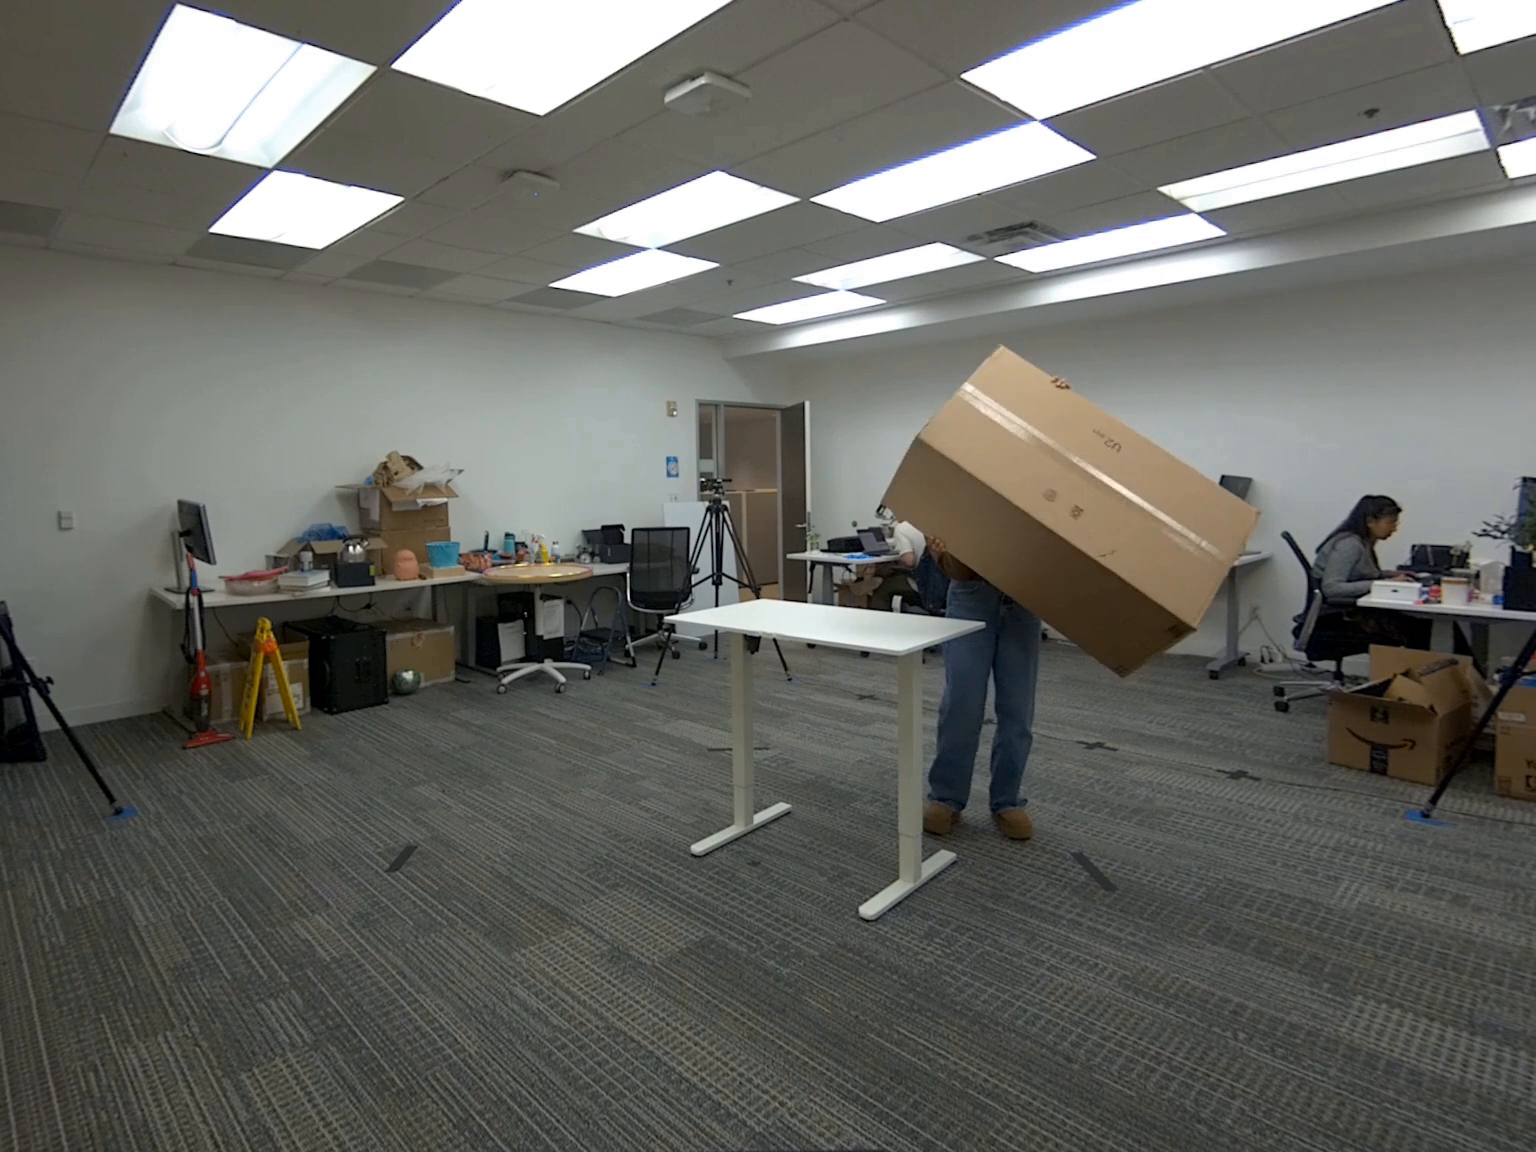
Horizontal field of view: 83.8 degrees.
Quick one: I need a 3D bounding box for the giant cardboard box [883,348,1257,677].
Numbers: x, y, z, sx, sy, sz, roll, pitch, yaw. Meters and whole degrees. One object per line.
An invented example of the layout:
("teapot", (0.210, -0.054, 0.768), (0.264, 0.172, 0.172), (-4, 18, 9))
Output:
("giant cardboard box", (1.009, -0.233, 2.980), (0.577, 1.044, 0.419), (-45, -14, -27))
